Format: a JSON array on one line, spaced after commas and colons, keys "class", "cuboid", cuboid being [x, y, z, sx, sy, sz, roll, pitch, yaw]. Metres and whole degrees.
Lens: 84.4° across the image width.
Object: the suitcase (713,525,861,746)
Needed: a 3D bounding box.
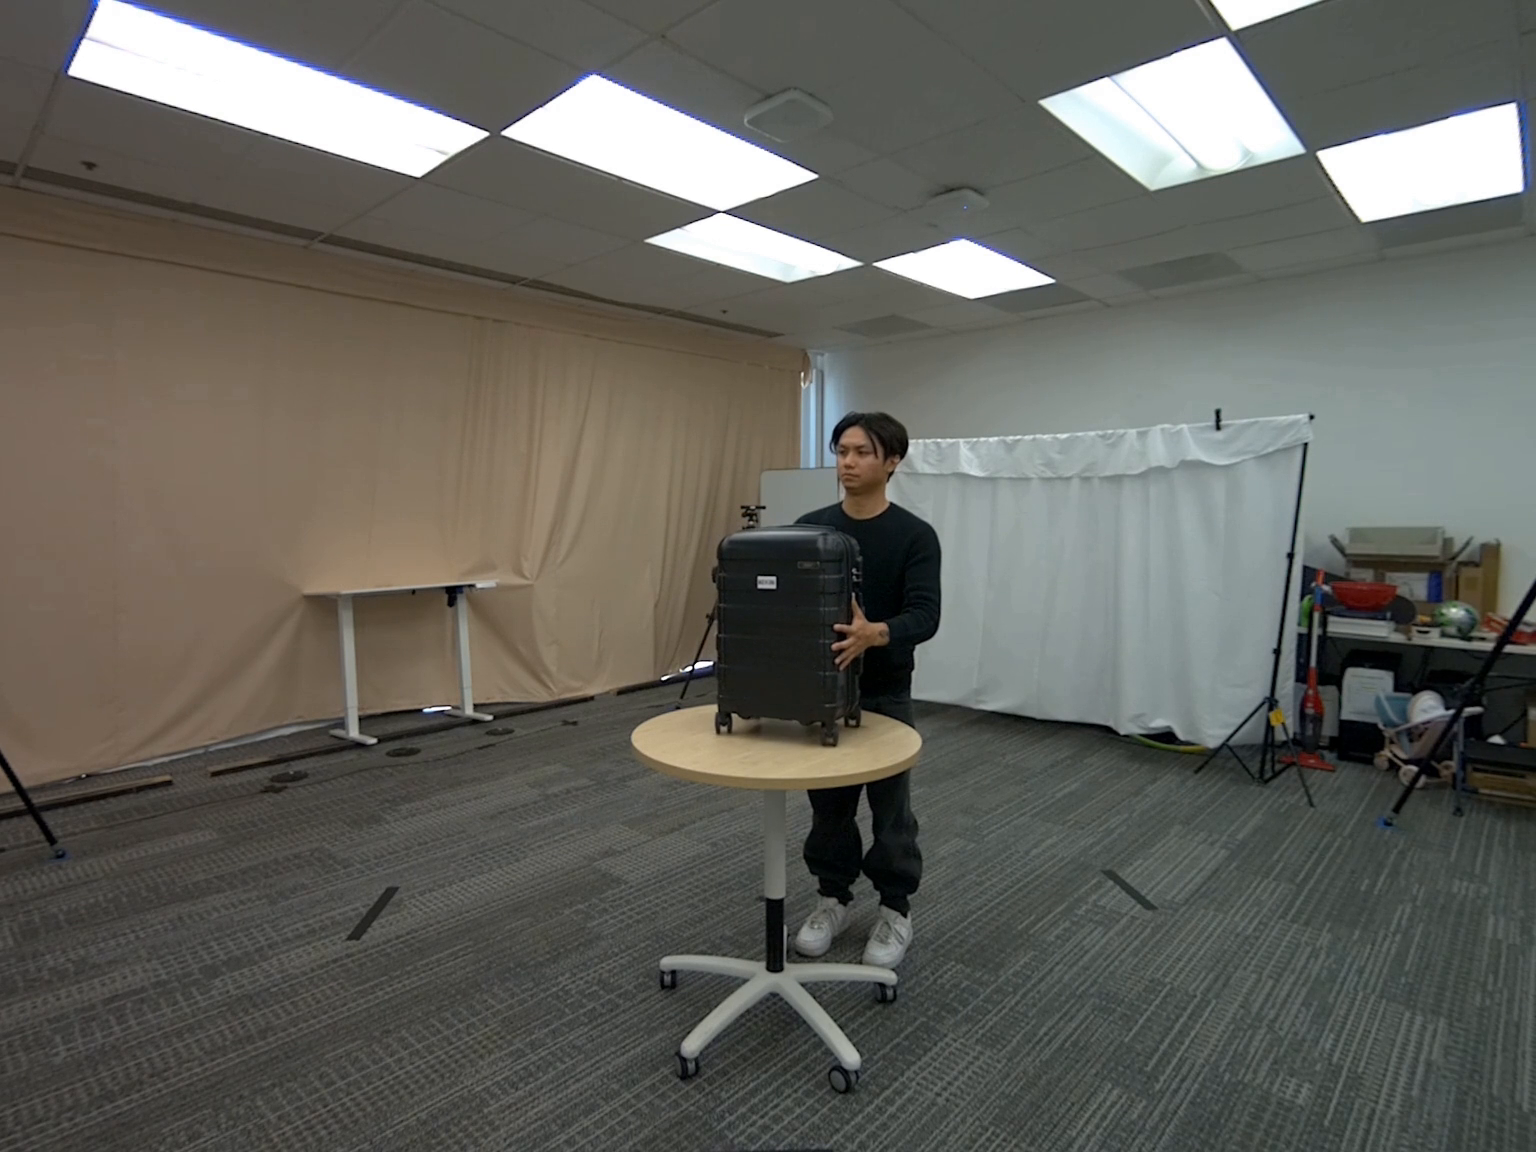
[{"class": "suitcase", "cuboid": [0.057, 0.140, 2.252, 0.385, 0.548, 0.242, 3, 4, 26]}]
